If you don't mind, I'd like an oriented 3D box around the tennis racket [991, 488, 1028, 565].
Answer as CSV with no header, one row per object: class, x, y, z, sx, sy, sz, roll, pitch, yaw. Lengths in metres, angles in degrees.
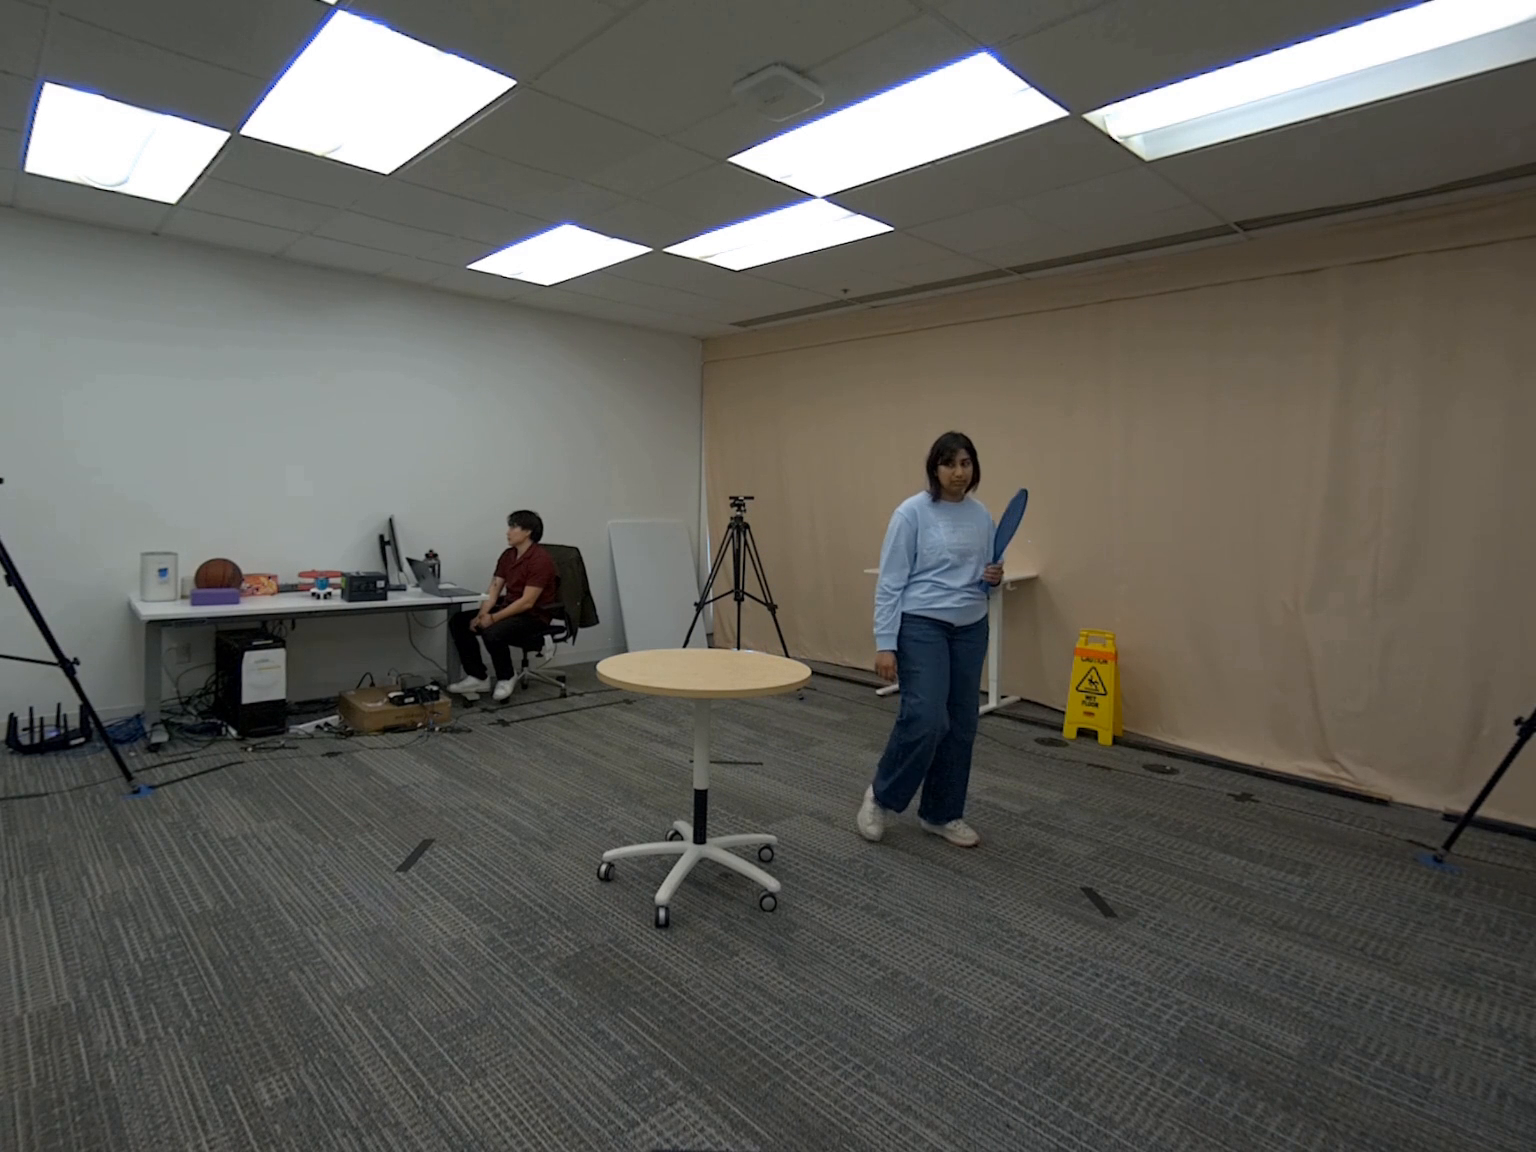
tennis racket,0.873,-0.135,3.220,0.032,0.427,0.210,26,27,29
